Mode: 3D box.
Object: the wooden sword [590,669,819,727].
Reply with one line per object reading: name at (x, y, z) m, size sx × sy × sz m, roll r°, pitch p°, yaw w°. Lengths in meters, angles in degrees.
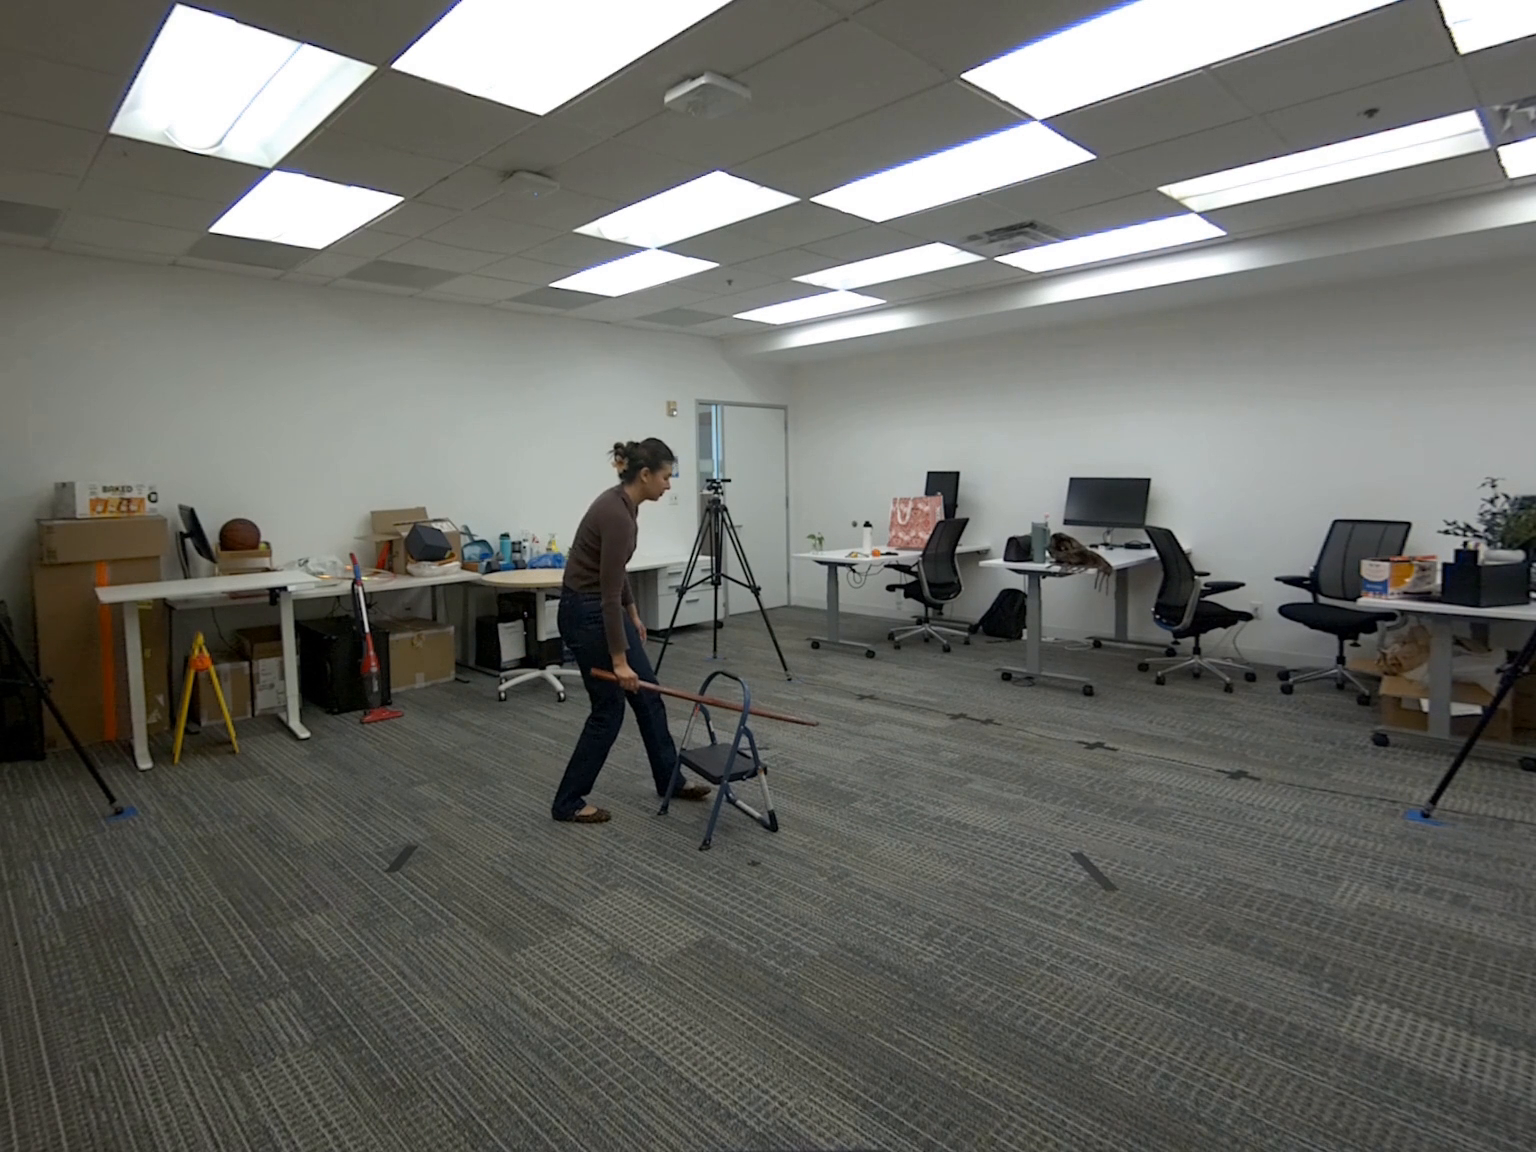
wooden sword at (-0.225, 0.490, 3.469) m, size 1.001 × 0.052 × 0.024 m, roll 16°, pitch -30°, yaw -21°
